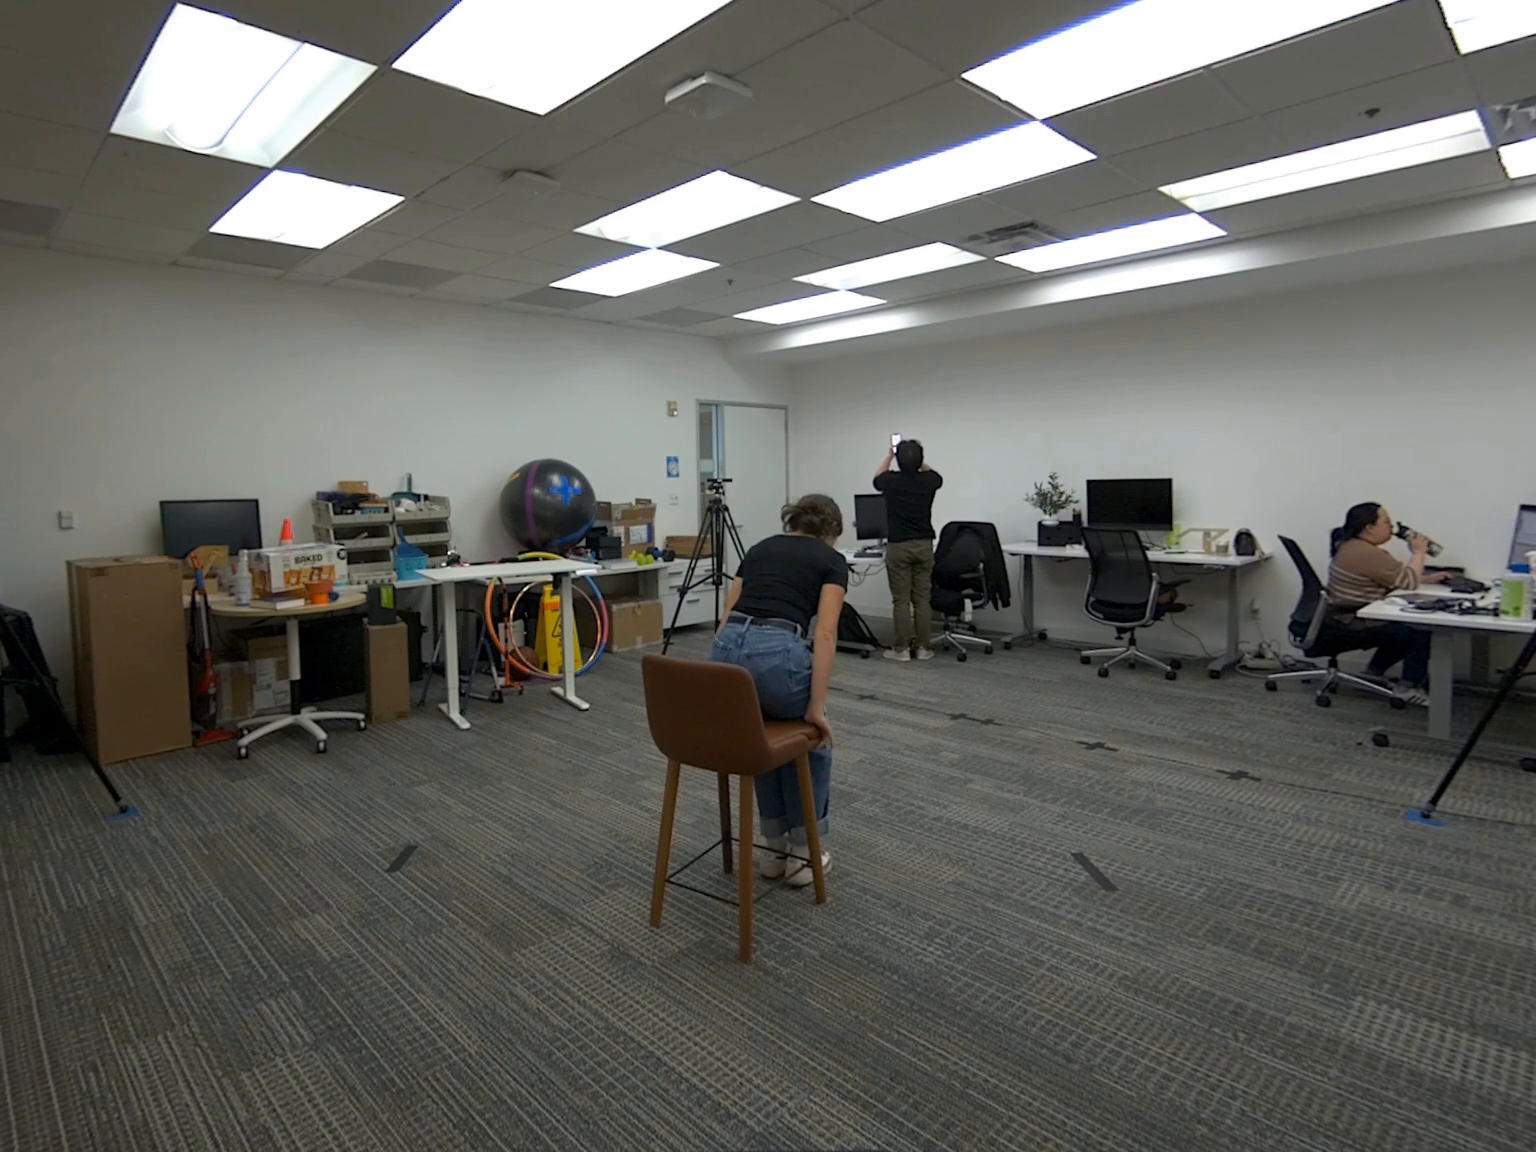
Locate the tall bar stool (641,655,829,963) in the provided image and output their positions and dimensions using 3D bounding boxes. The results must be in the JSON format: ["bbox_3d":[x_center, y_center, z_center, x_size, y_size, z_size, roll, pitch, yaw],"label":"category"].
[{"bbox_3d":[-0.107,0.658,2.726,0.469,0.885,0.457,2,6,35],"label":"tall bar stool"}]
